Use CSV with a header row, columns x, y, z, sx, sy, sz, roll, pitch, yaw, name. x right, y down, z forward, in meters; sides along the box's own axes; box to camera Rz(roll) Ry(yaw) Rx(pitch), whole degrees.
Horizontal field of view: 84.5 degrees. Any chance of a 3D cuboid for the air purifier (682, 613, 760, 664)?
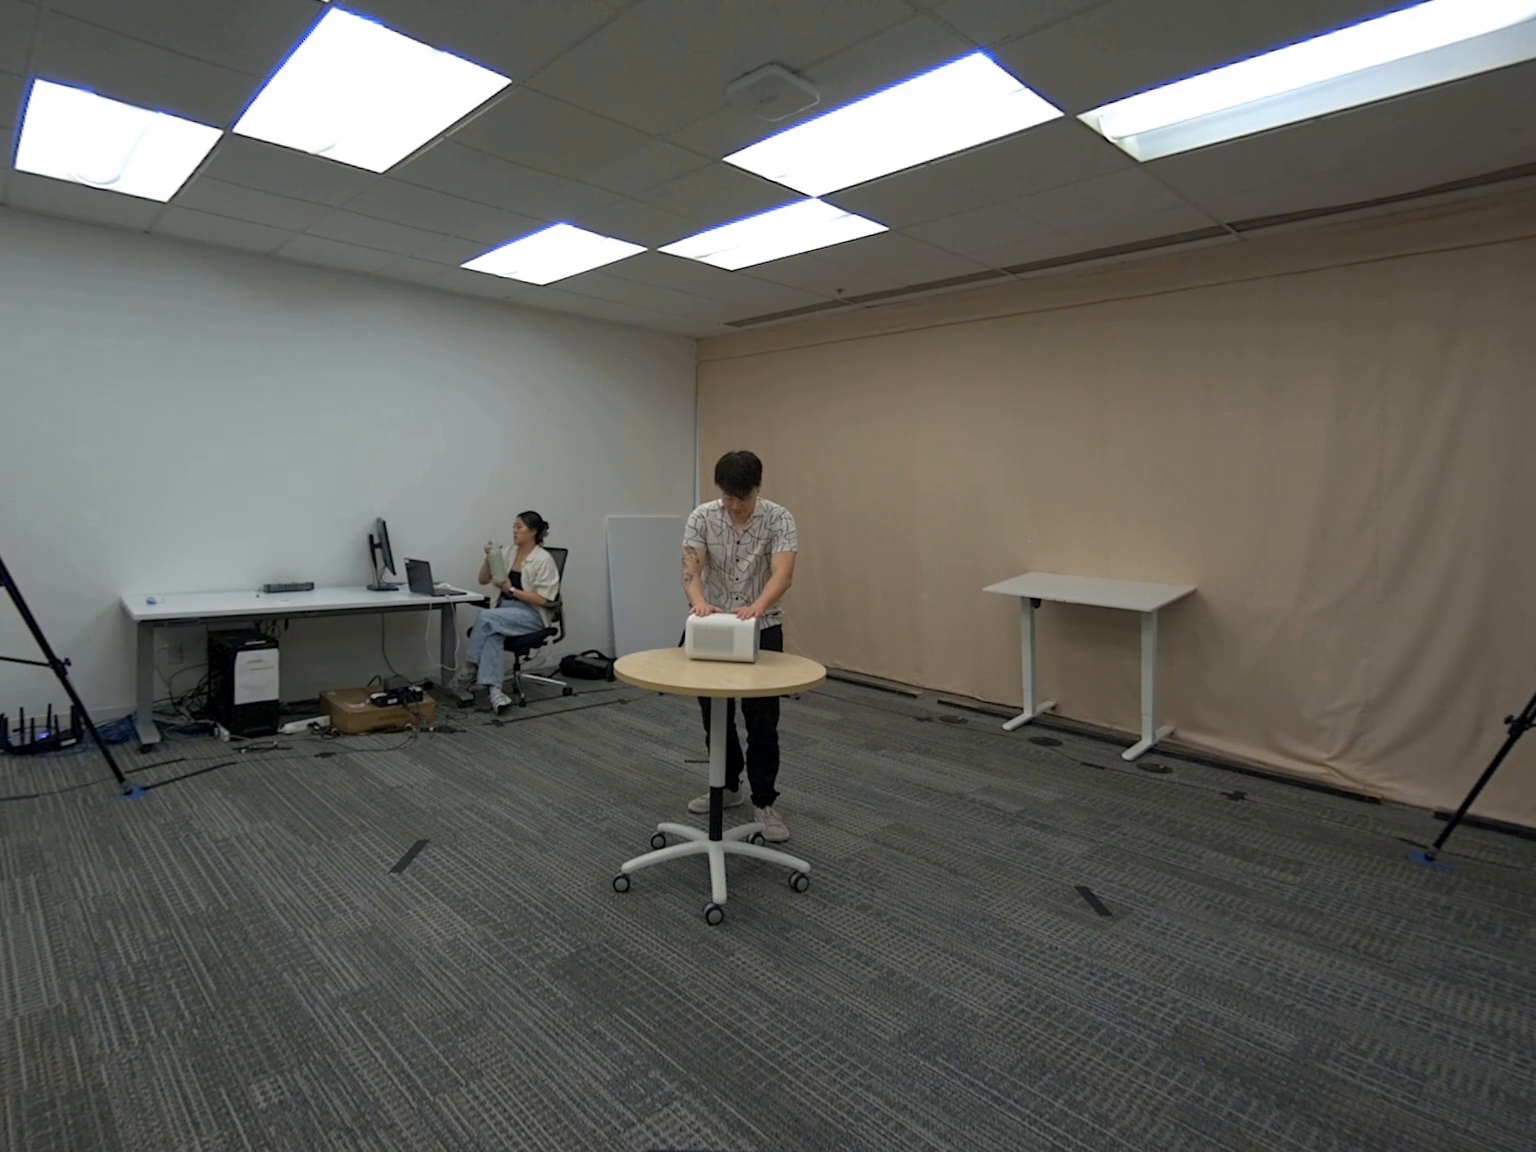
x,y,z,sx,sy,sz,roll,pitch,yaw,name
-0.185,0.230,3.167,0.267,0.171,0.170,-1,3,7,air purifier
